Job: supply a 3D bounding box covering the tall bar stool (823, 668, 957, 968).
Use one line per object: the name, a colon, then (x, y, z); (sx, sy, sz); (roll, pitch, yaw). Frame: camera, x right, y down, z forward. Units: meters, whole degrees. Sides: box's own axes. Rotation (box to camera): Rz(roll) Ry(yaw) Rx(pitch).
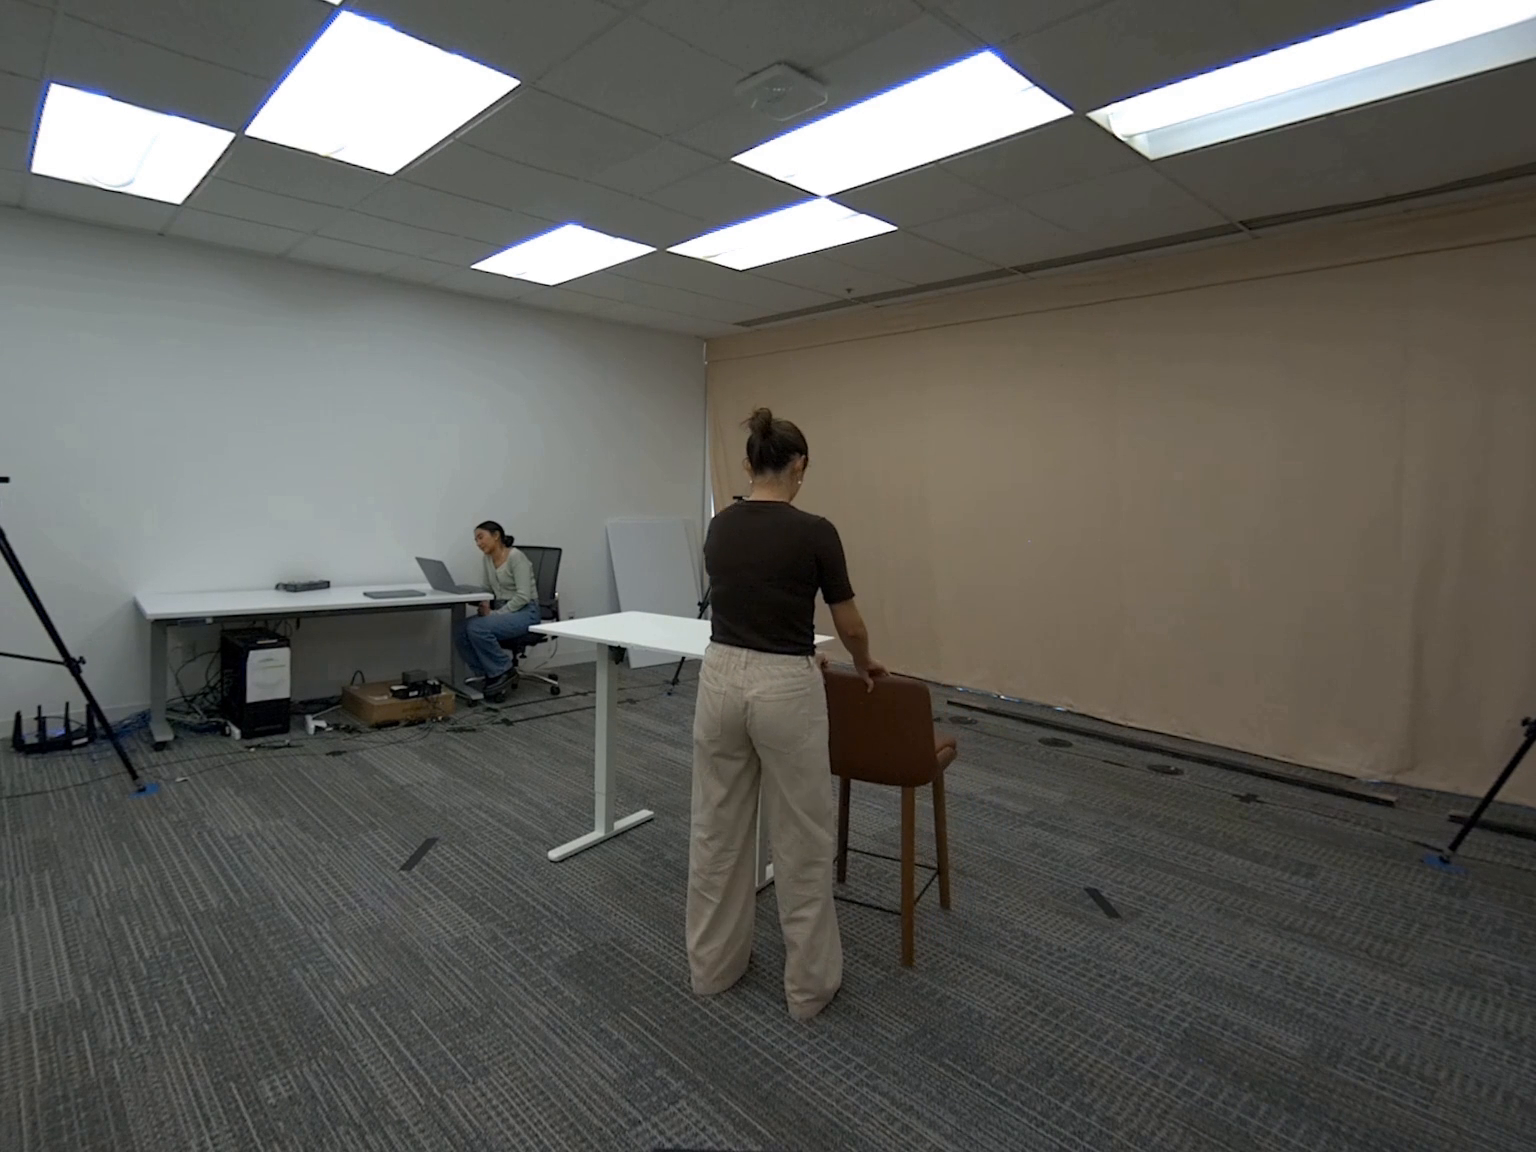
tall bar stool: (0.352, 0.712, 2.753); (0.466, 0.886, 0.460); (4, 6, 27)
